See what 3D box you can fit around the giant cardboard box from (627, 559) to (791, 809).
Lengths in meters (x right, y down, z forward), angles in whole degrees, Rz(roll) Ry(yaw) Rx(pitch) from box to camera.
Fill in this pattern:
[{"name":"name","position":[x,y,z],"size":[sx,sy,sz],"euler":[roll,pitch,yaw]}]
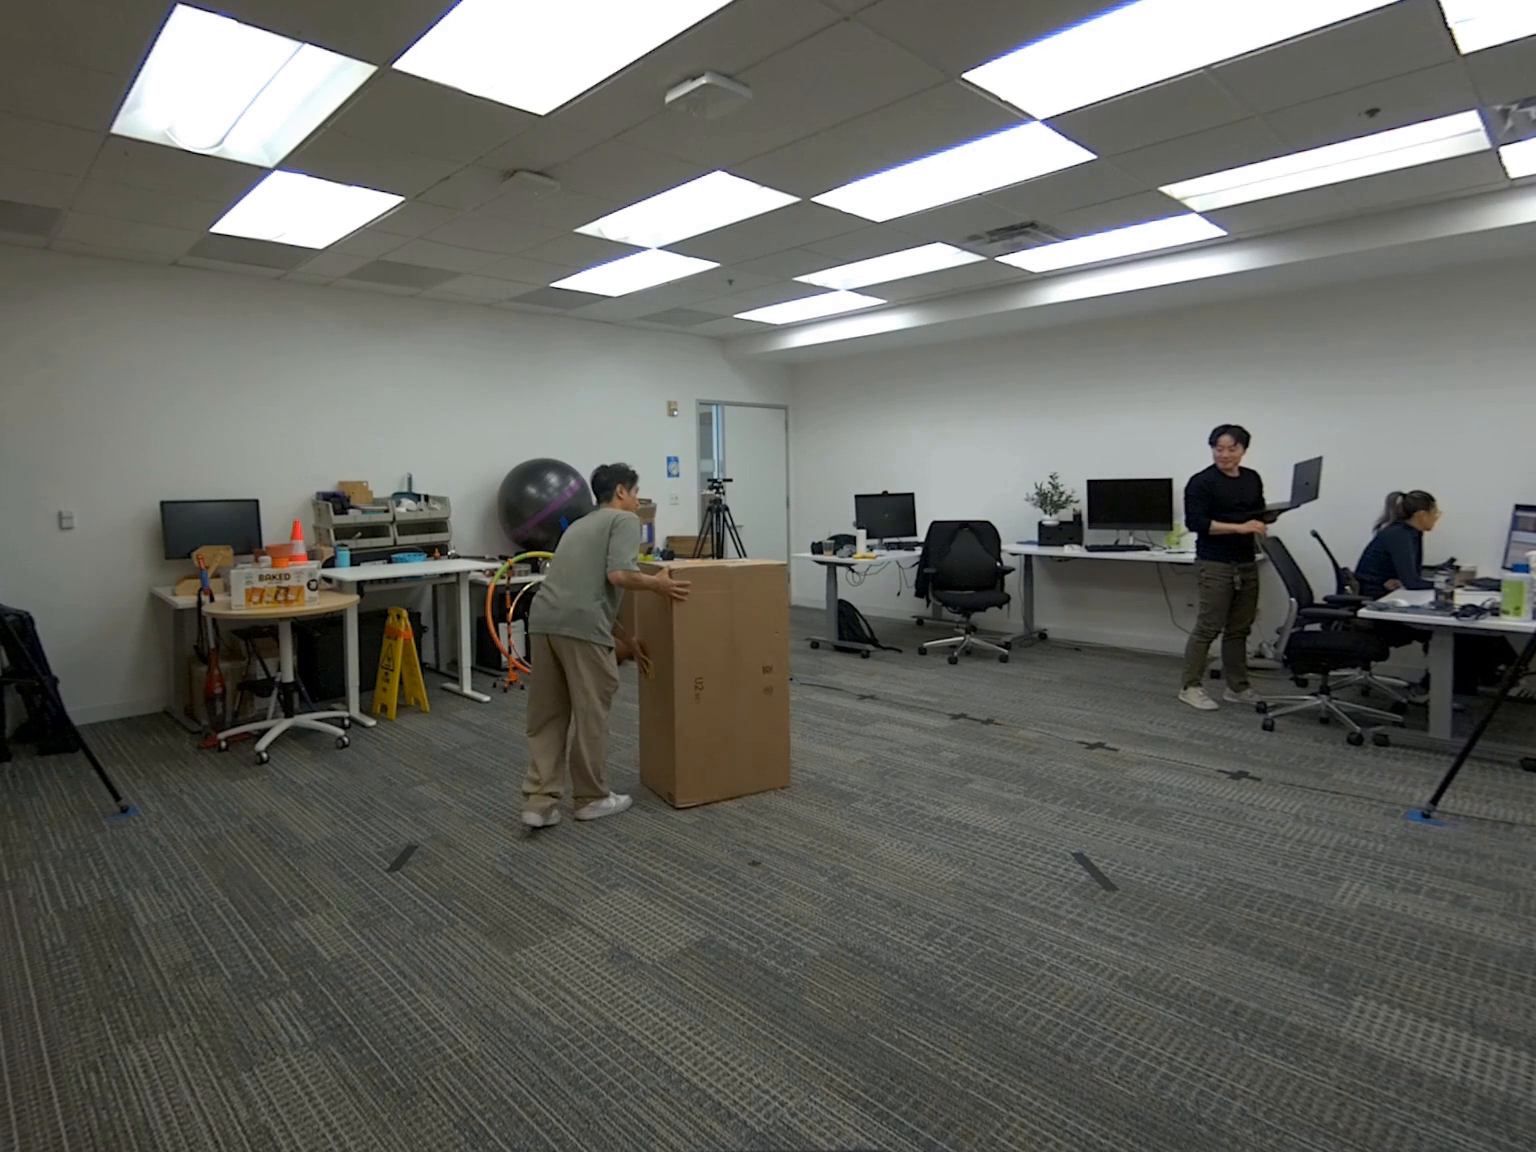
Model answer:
[{"name":"giant cardboard box","position":[-0.249,0.449,3.916],"size":[0.564,1.023,0.437],"euler":[-2,3,-29]}]
